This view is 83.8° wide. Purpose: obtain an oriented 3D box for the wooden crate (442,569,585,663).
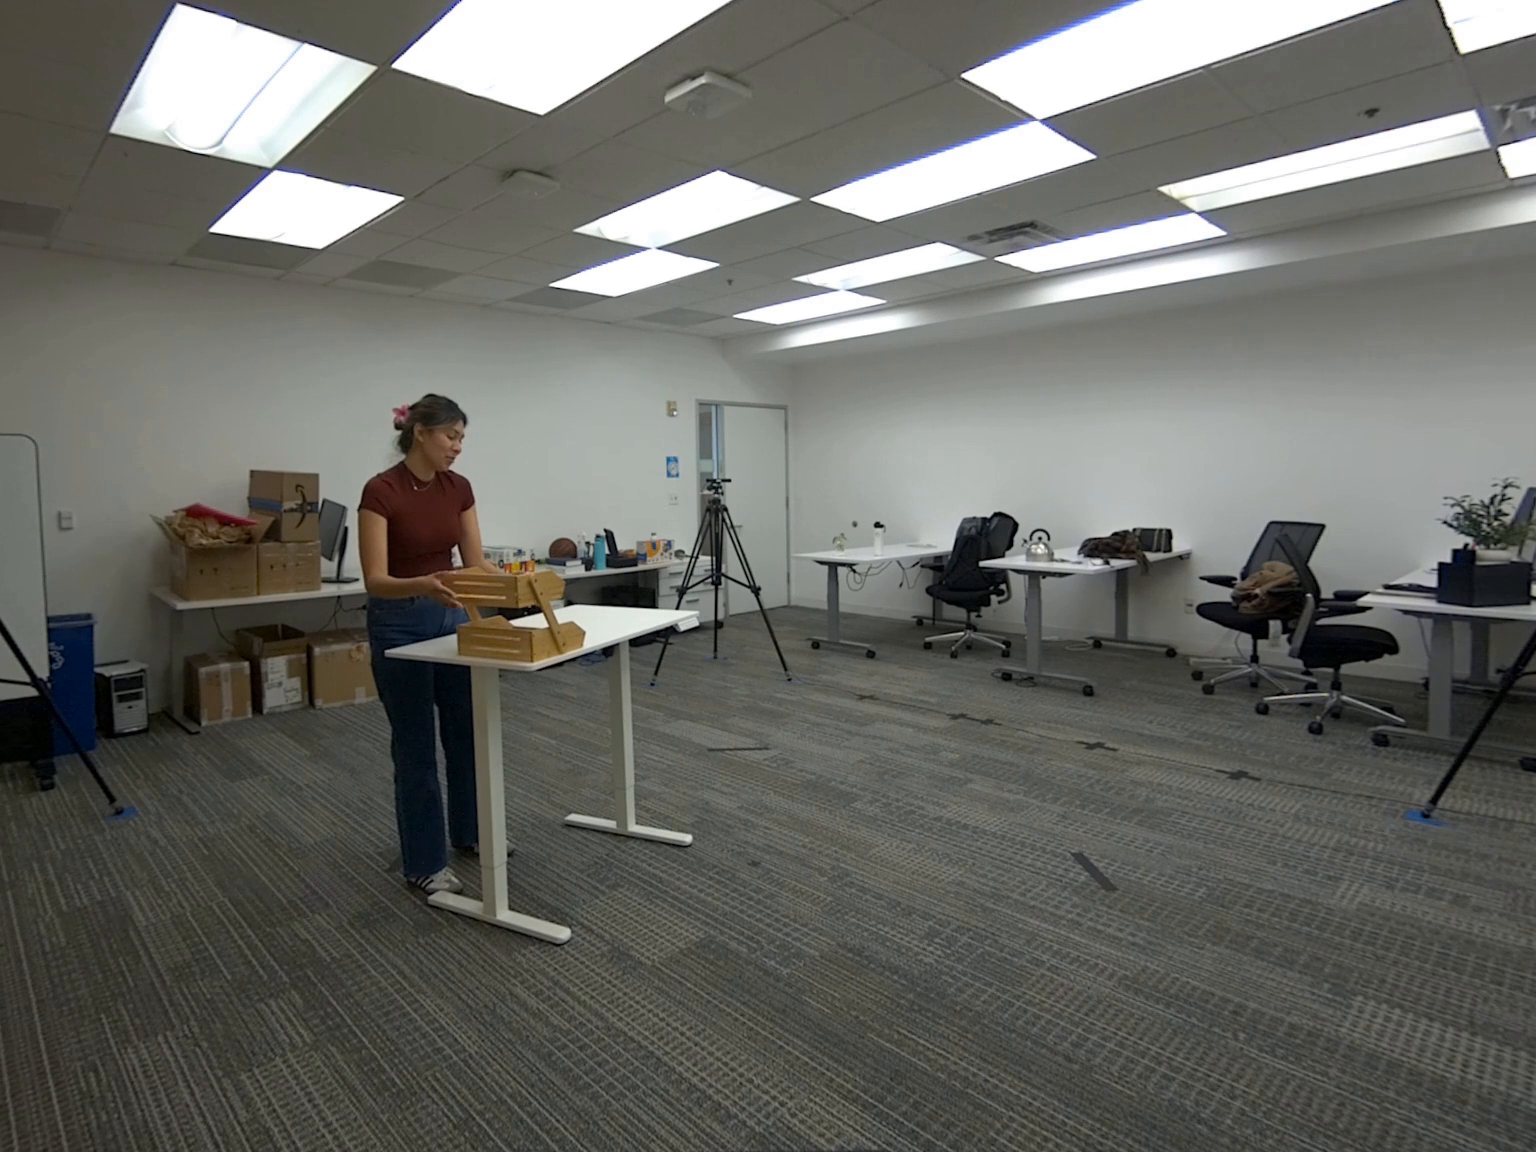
[{"bbox_3d":[-0.775,0.103,2.619,0.332,0.272,0.296,1,7,26],"label":"wooden crate"}]
